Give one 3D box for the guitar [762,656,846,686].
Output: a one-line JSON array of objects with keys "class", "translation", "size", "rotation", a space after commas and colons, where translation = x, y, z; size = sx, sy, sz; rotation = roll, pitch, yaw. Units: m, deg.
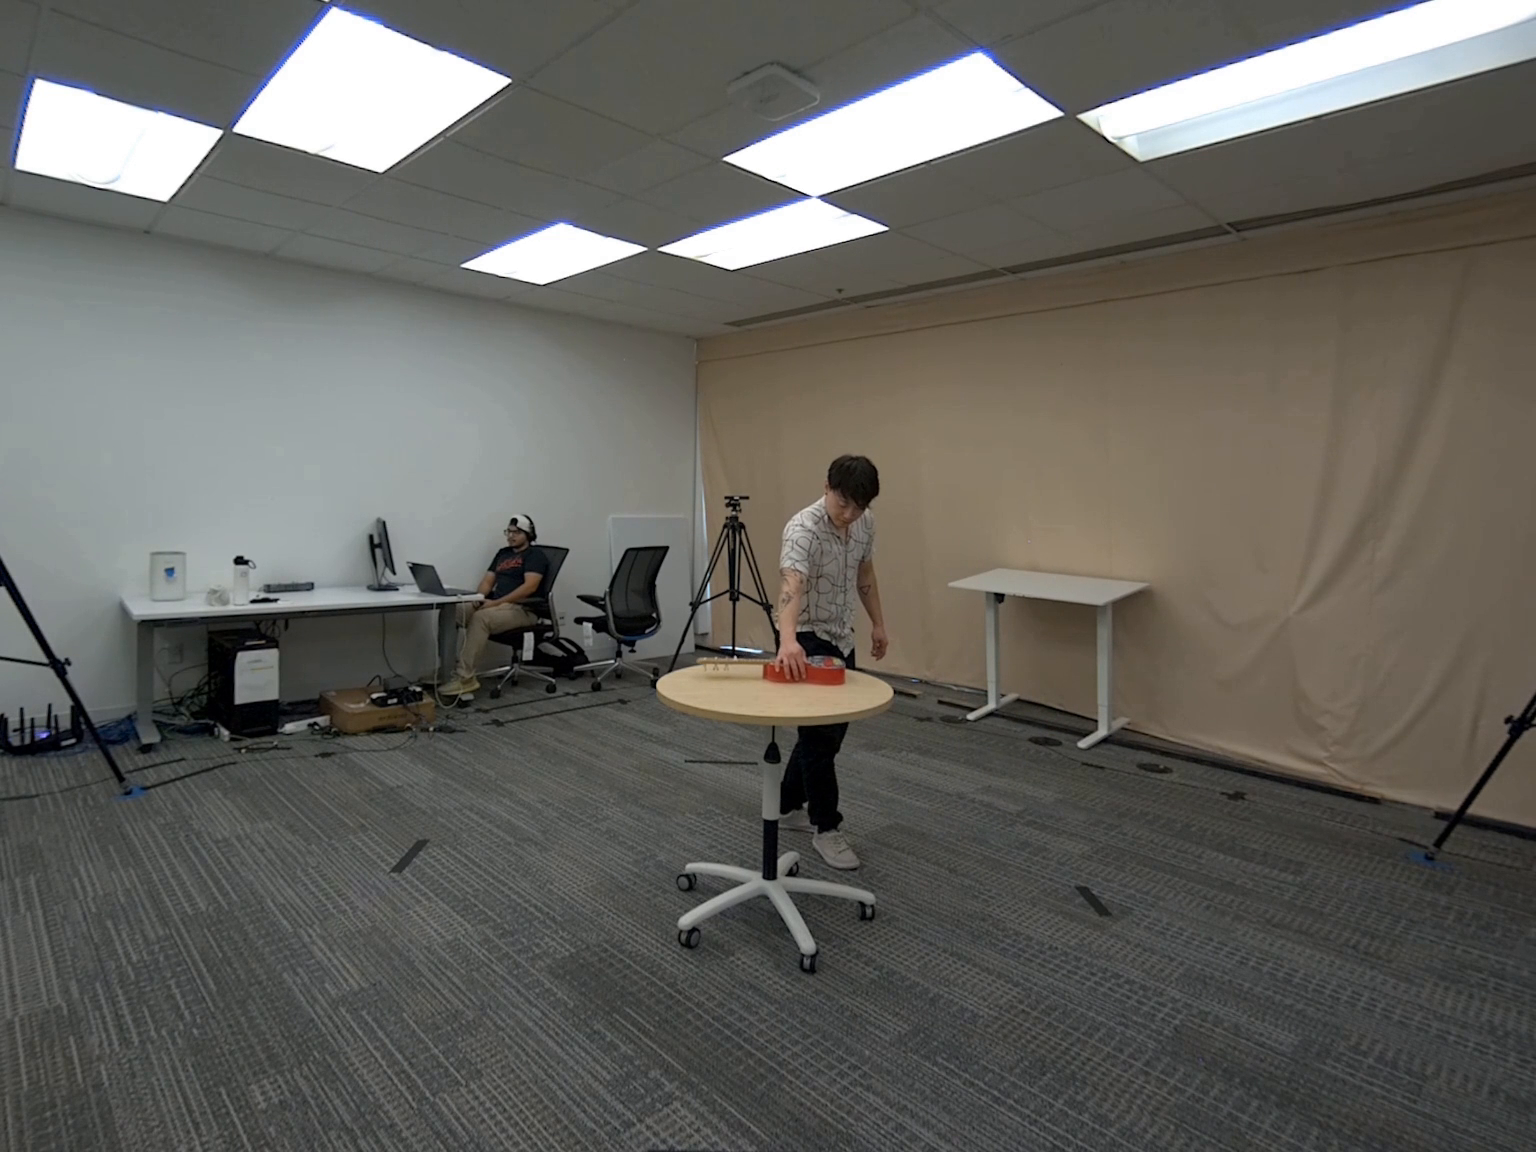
[{"class": "guitar", "translation": [0.008, 0.309, 2.869], "size": [0.500, 0.070, 0.193], "rotation": [2, 6, 5]}]
